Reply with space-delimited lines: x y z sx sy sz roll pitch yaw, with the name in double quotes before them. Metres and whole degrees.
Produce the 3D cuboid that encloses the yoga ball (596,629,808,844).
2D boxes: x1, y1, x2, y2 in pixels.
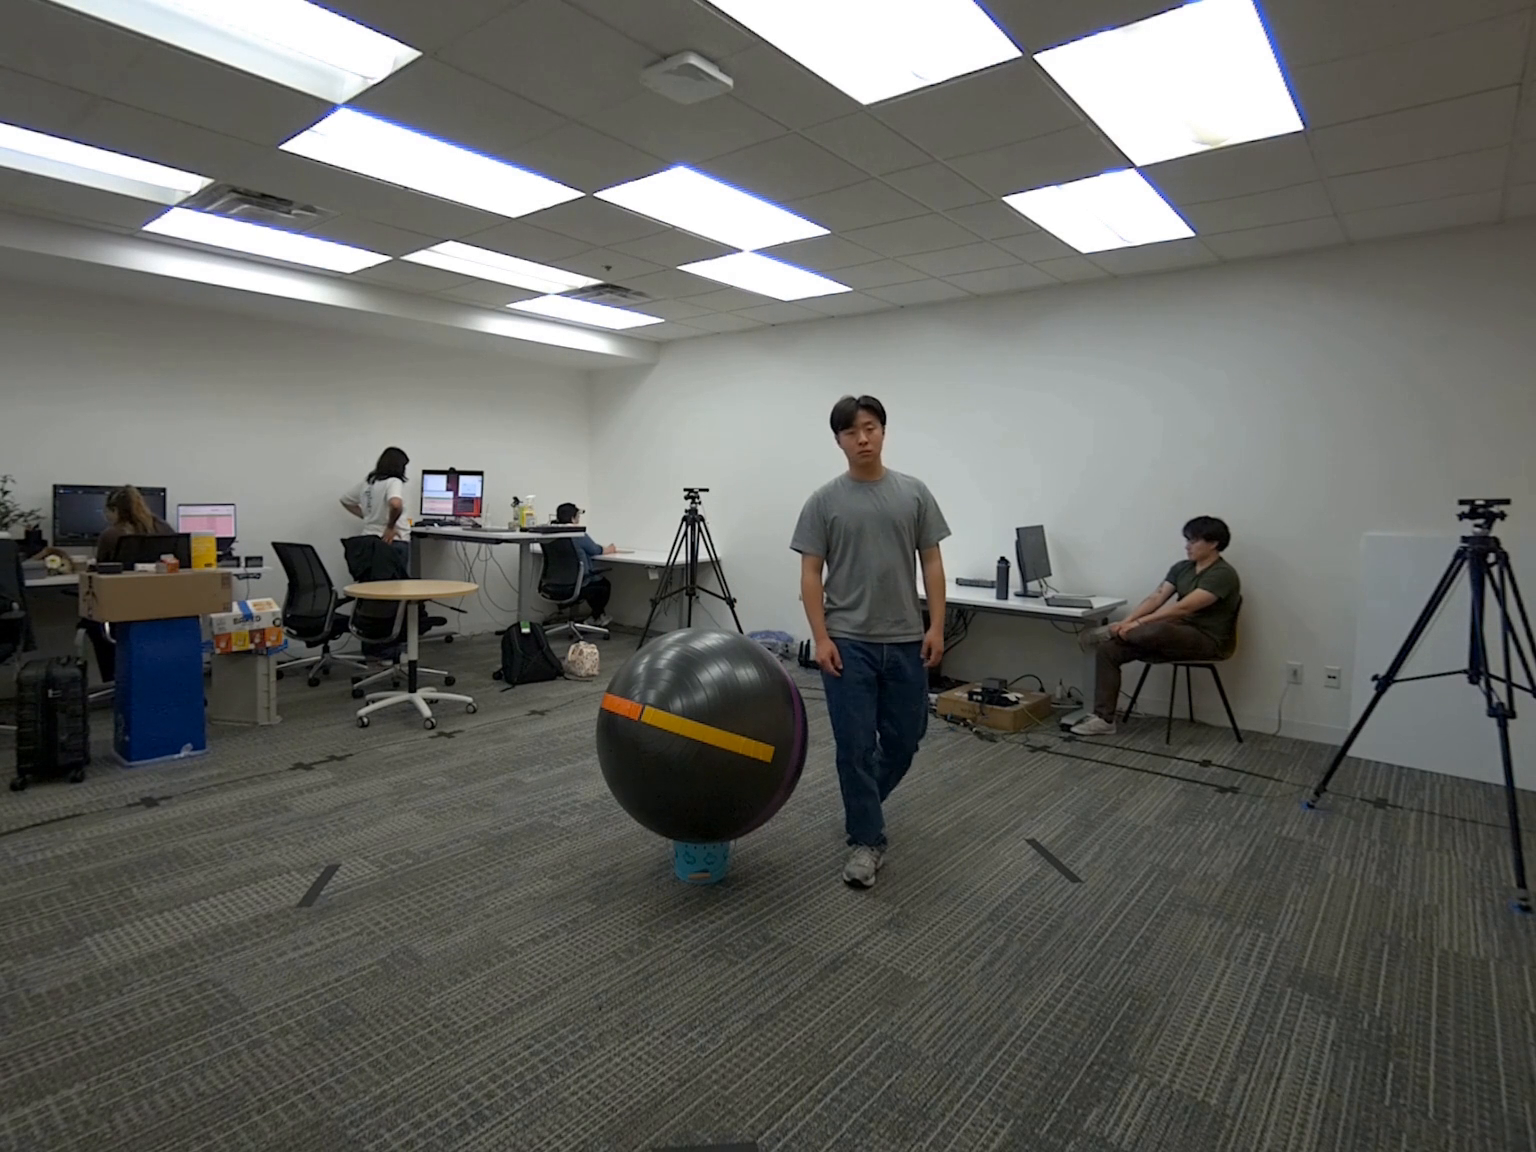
"yoga ball" -0.252 0.564 3.061 0.757 0.755 0.762 1 4 -2
